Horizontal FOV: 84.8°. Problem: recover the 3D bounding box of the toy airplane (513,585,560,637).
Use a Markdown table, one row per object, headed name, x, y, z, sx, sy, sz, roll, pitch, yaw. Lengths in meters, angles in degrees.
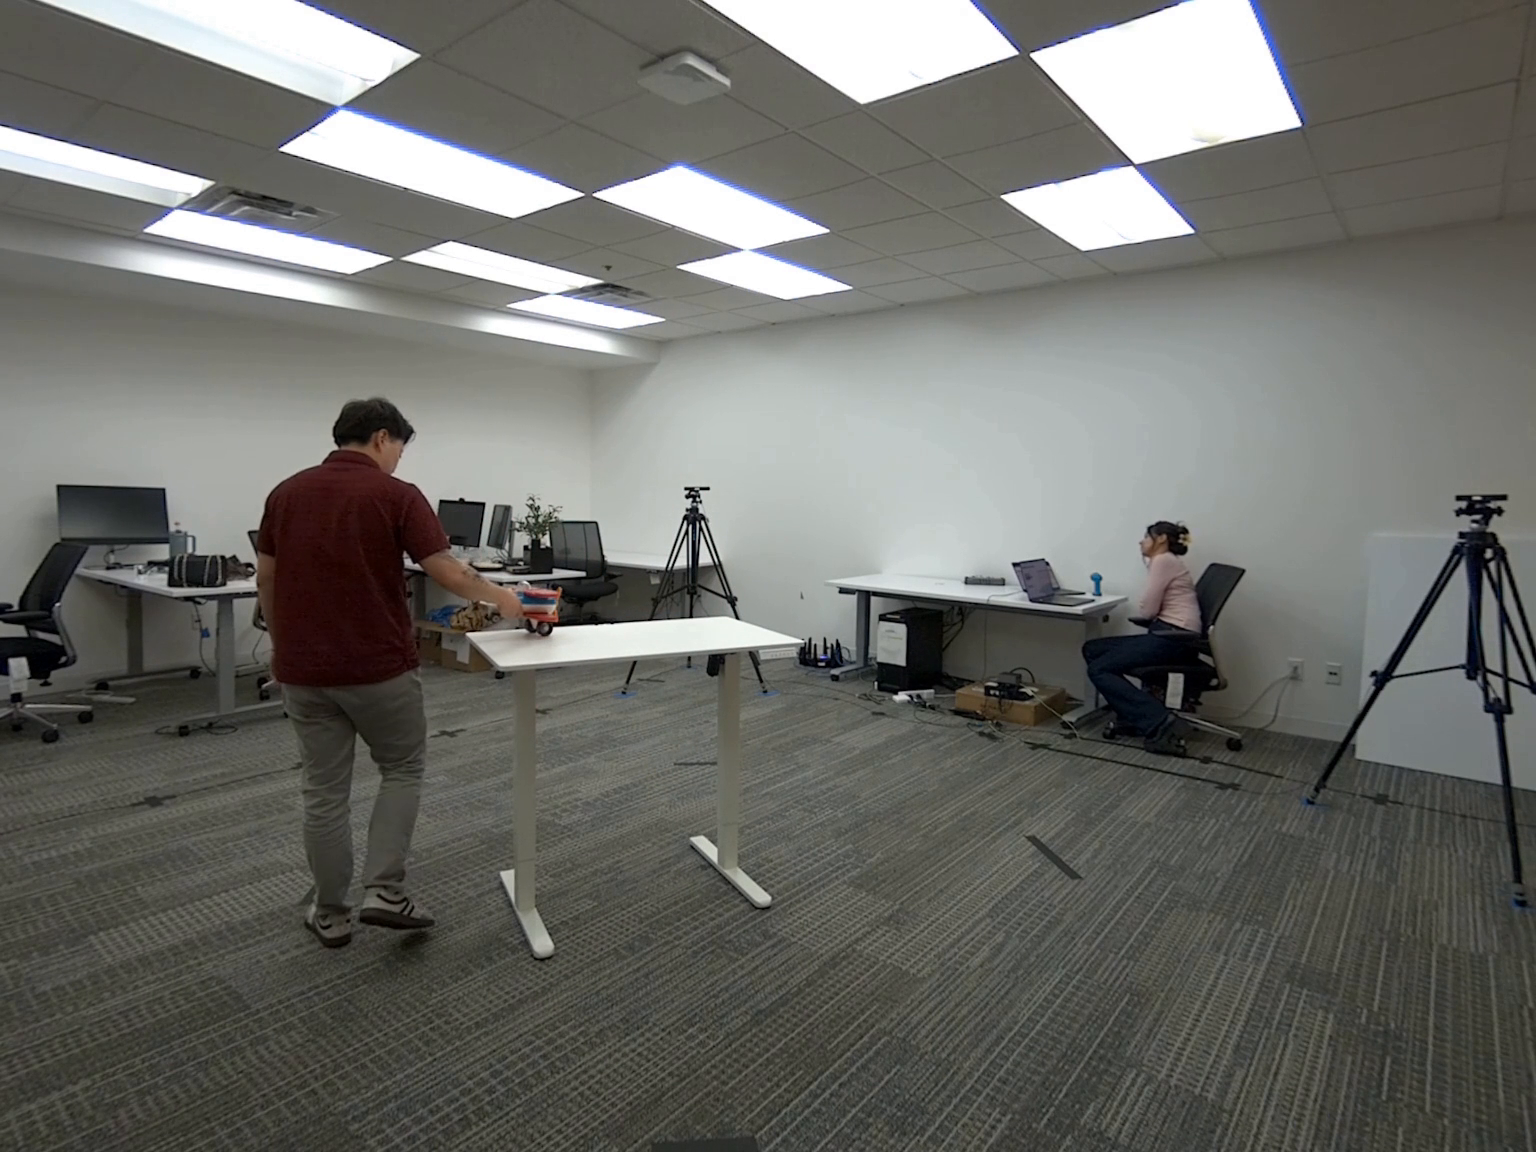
| name | x | y | z | sx | sy | sz | roll | pitch | yaw |
| --- | --- | --- | --- | --- | --- | --- | --- | --- | --- |
| toy airplane | -0.835 | 0.105 | 2.855 | 0.257 | 0.157 | 0.251 | 11 | -9 | 21 |
